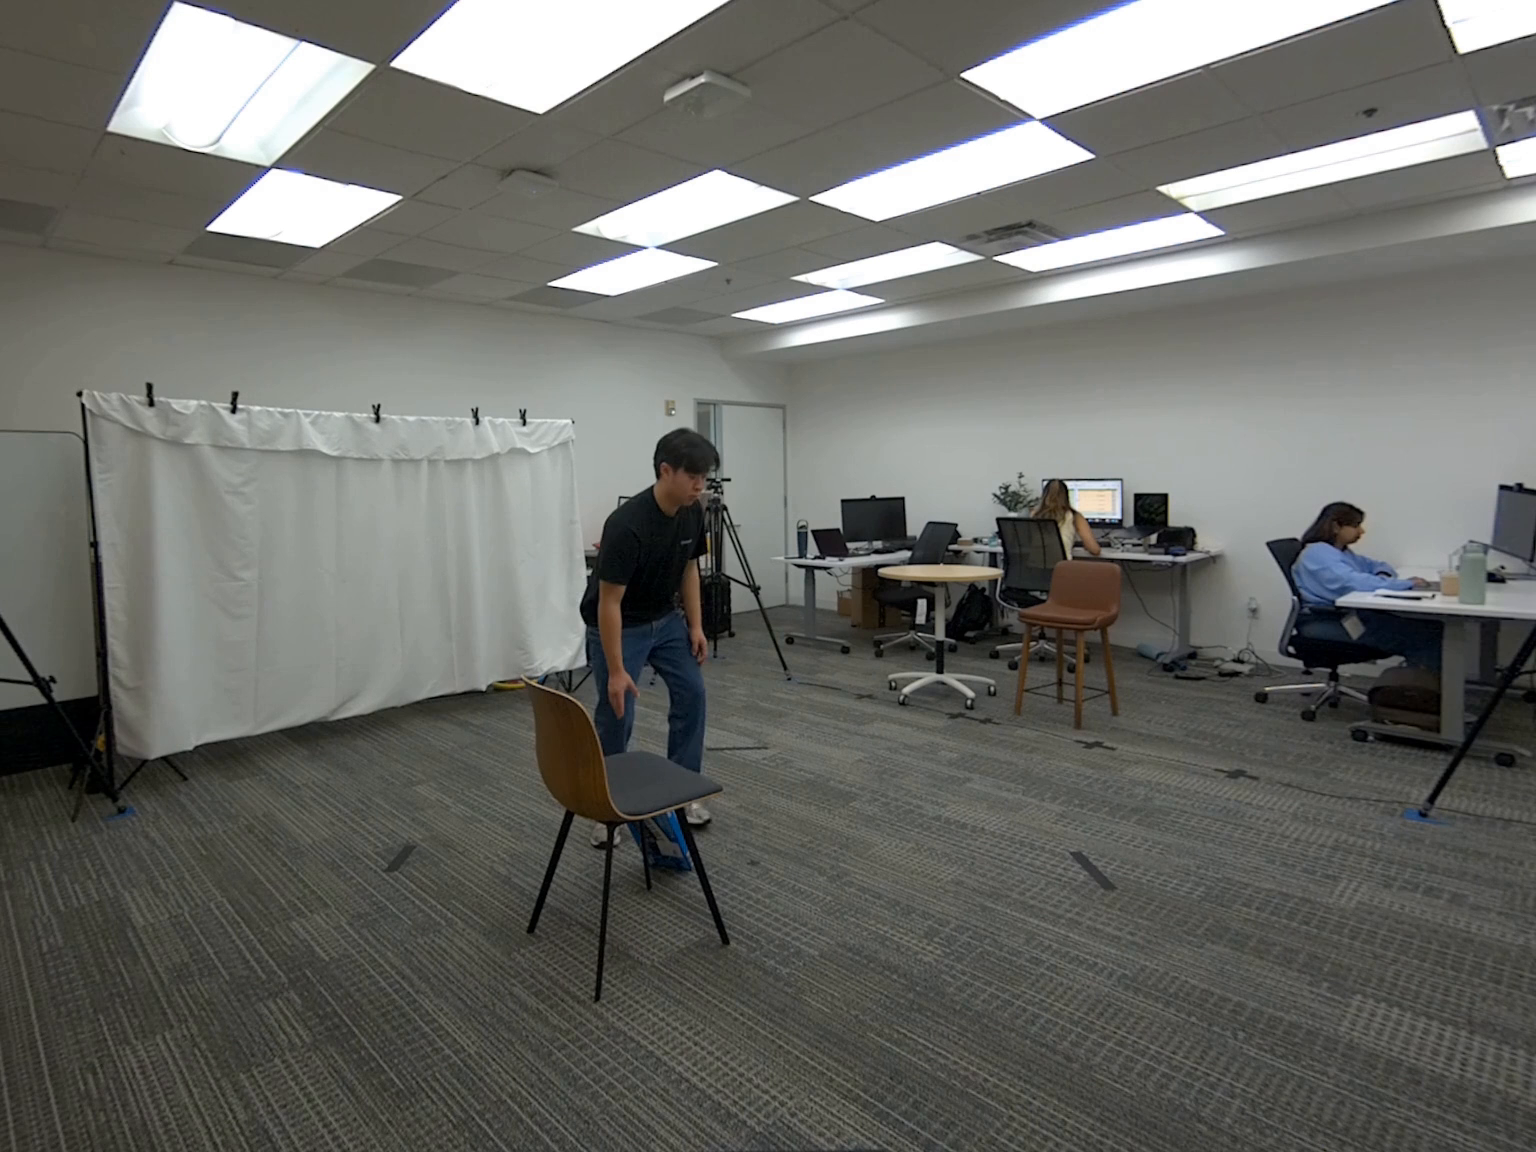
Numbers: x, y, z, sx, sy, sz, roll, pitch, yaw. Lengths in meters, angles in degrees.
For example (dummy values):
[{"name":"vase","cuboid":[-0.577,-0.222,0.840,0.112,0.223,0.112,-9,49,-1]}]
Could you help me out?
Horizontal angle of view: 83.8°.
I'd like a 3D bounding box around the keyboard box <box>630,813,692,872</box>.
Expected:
[{"name":"keyboard box","cuboid":[-0.385,0.888,2.957,0.179,0.422,0.060,2,44,16]}]
